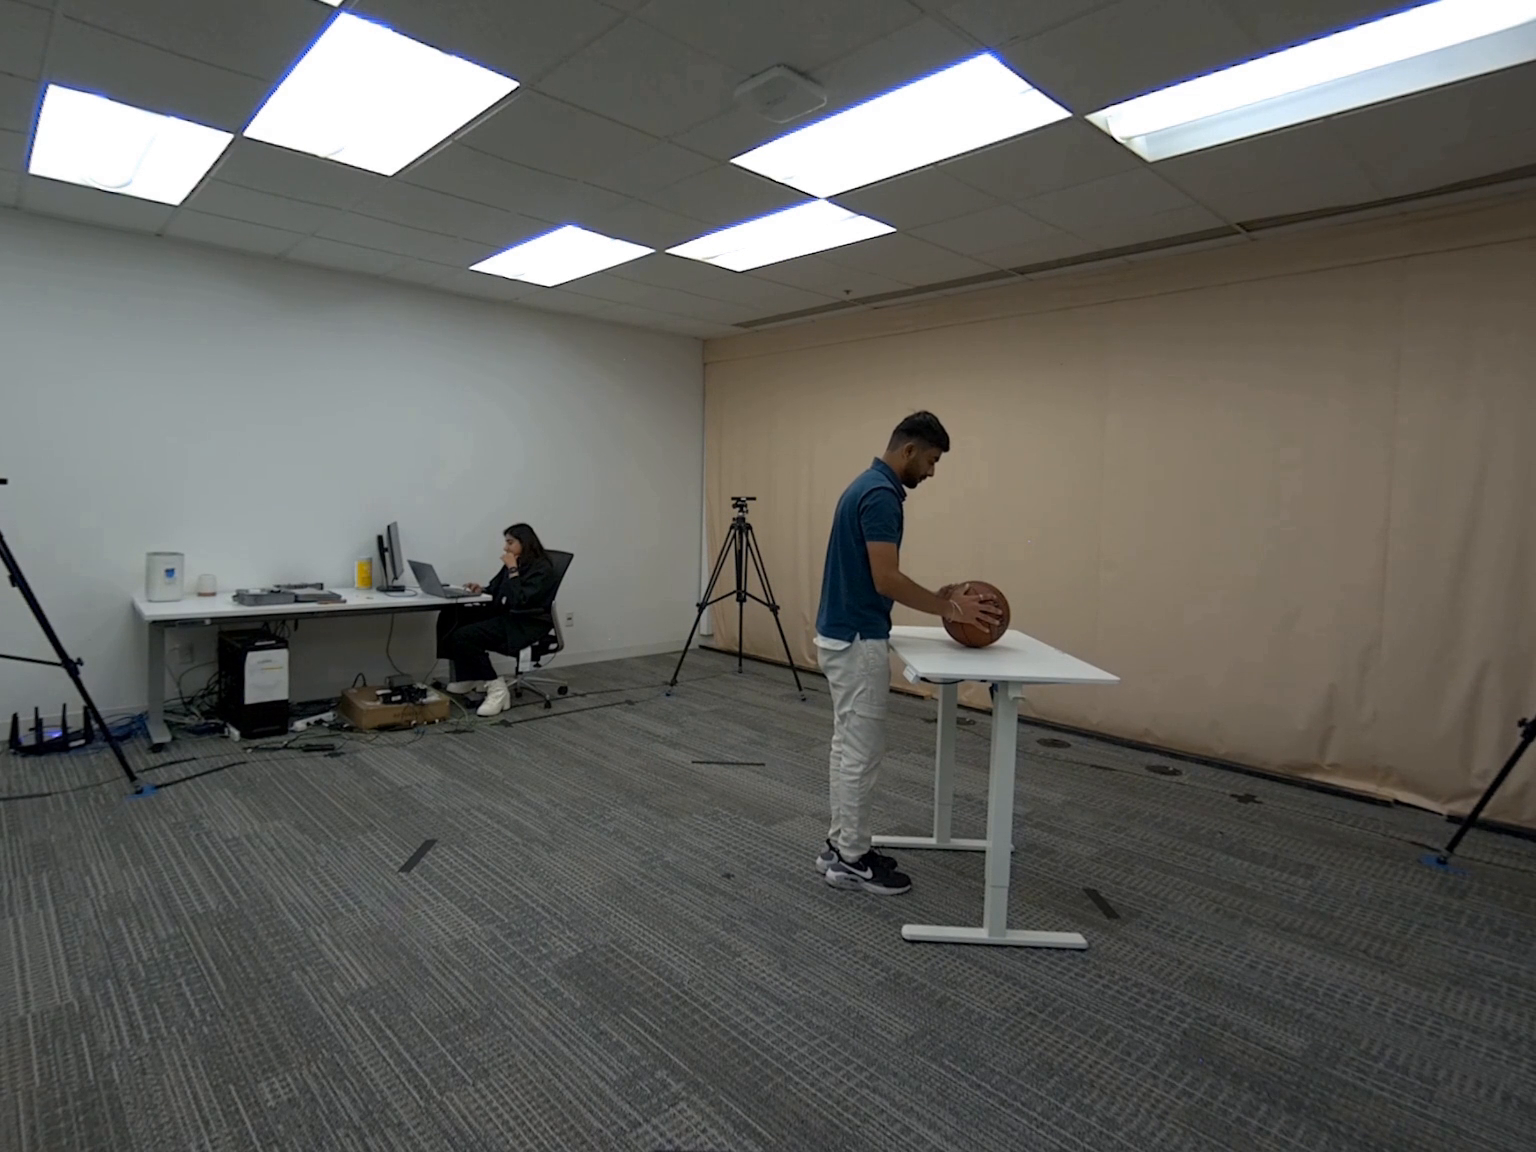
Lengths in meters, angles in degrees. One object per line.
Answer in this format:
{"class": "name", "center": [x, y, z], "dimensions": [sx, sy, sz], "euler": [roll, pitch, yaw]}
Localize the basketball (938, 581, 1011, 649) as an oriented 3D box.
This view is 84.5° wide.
{"class": "basketball", "center": [0.741, 0.136, 3.026], "dimensions": [0.236, 0.235, 0.237], "euler": [1, 4, -1]}
